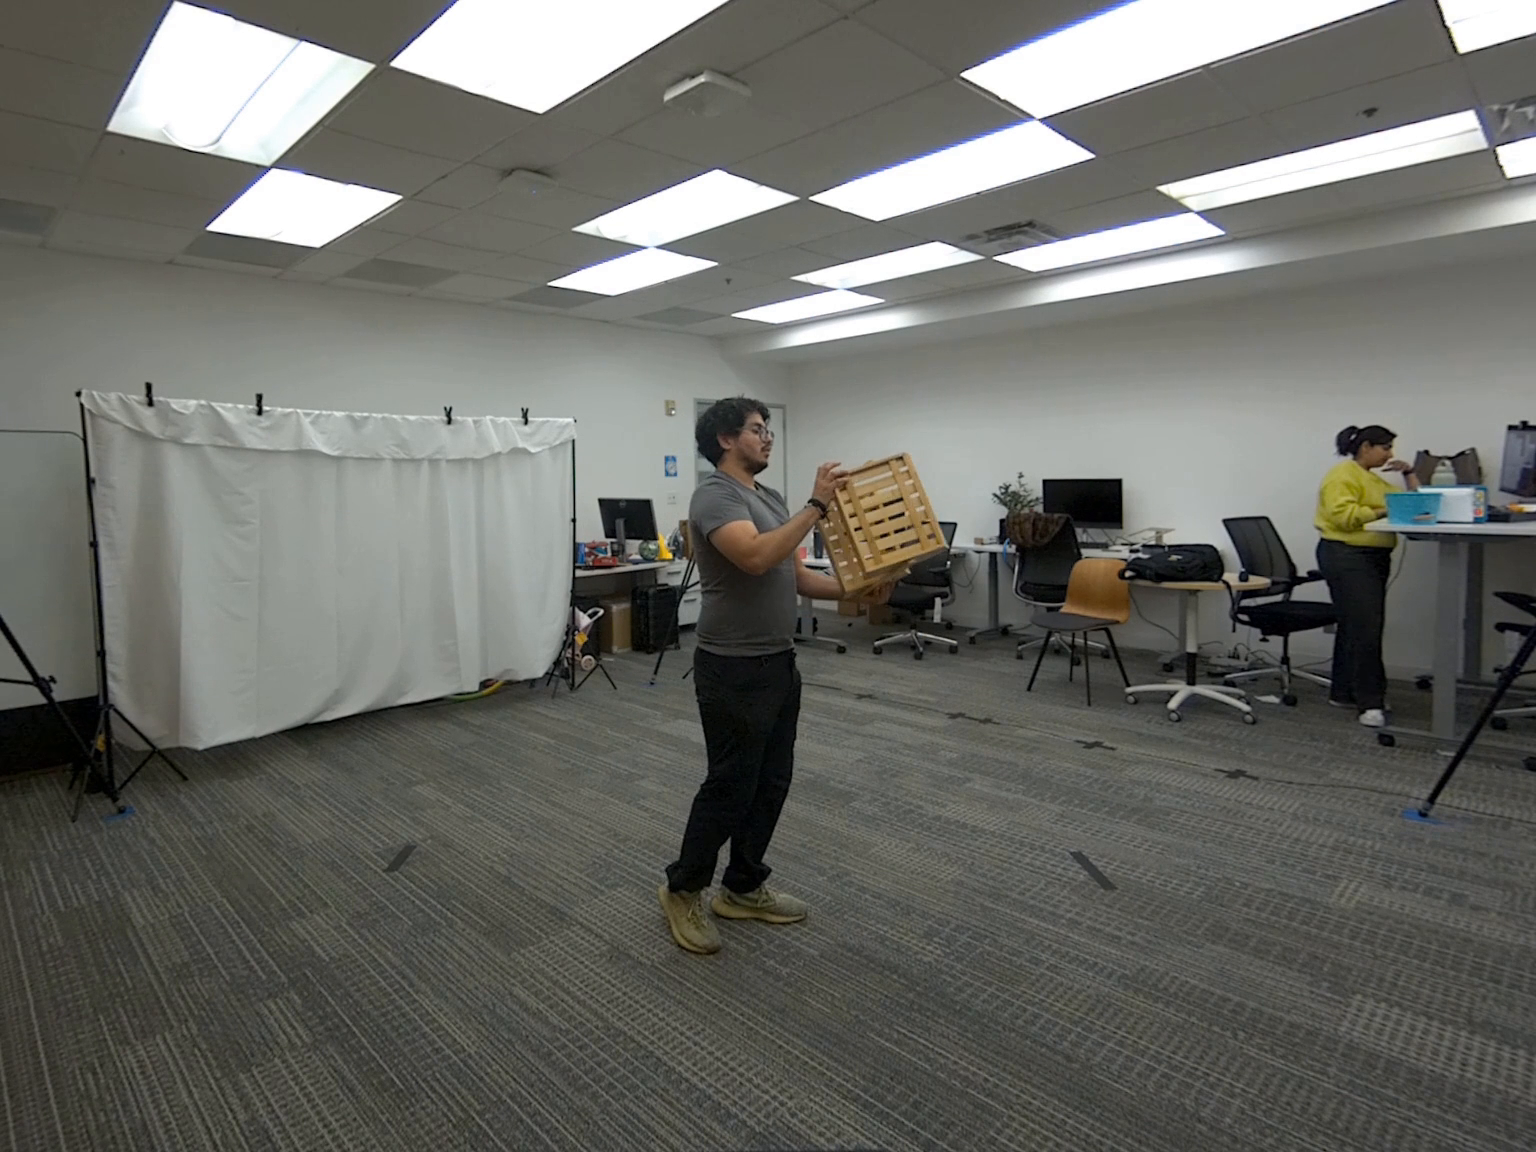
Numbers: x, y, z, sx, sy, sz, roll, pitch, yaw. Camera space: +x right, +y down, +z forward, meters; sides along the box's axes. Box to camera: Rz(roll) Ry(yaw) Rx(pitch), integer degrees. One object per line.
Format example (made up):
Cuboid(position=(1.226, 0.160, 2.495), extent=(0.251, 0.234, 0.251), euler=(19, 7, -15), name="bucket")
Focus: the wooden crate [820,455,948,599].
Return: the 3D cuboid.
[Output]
Cuboid(position=(0.321, -0.145, 2.537), extent=(0.301, 0.331, 0.269), euler=(-19, -15, -3), name="wooden crate")
